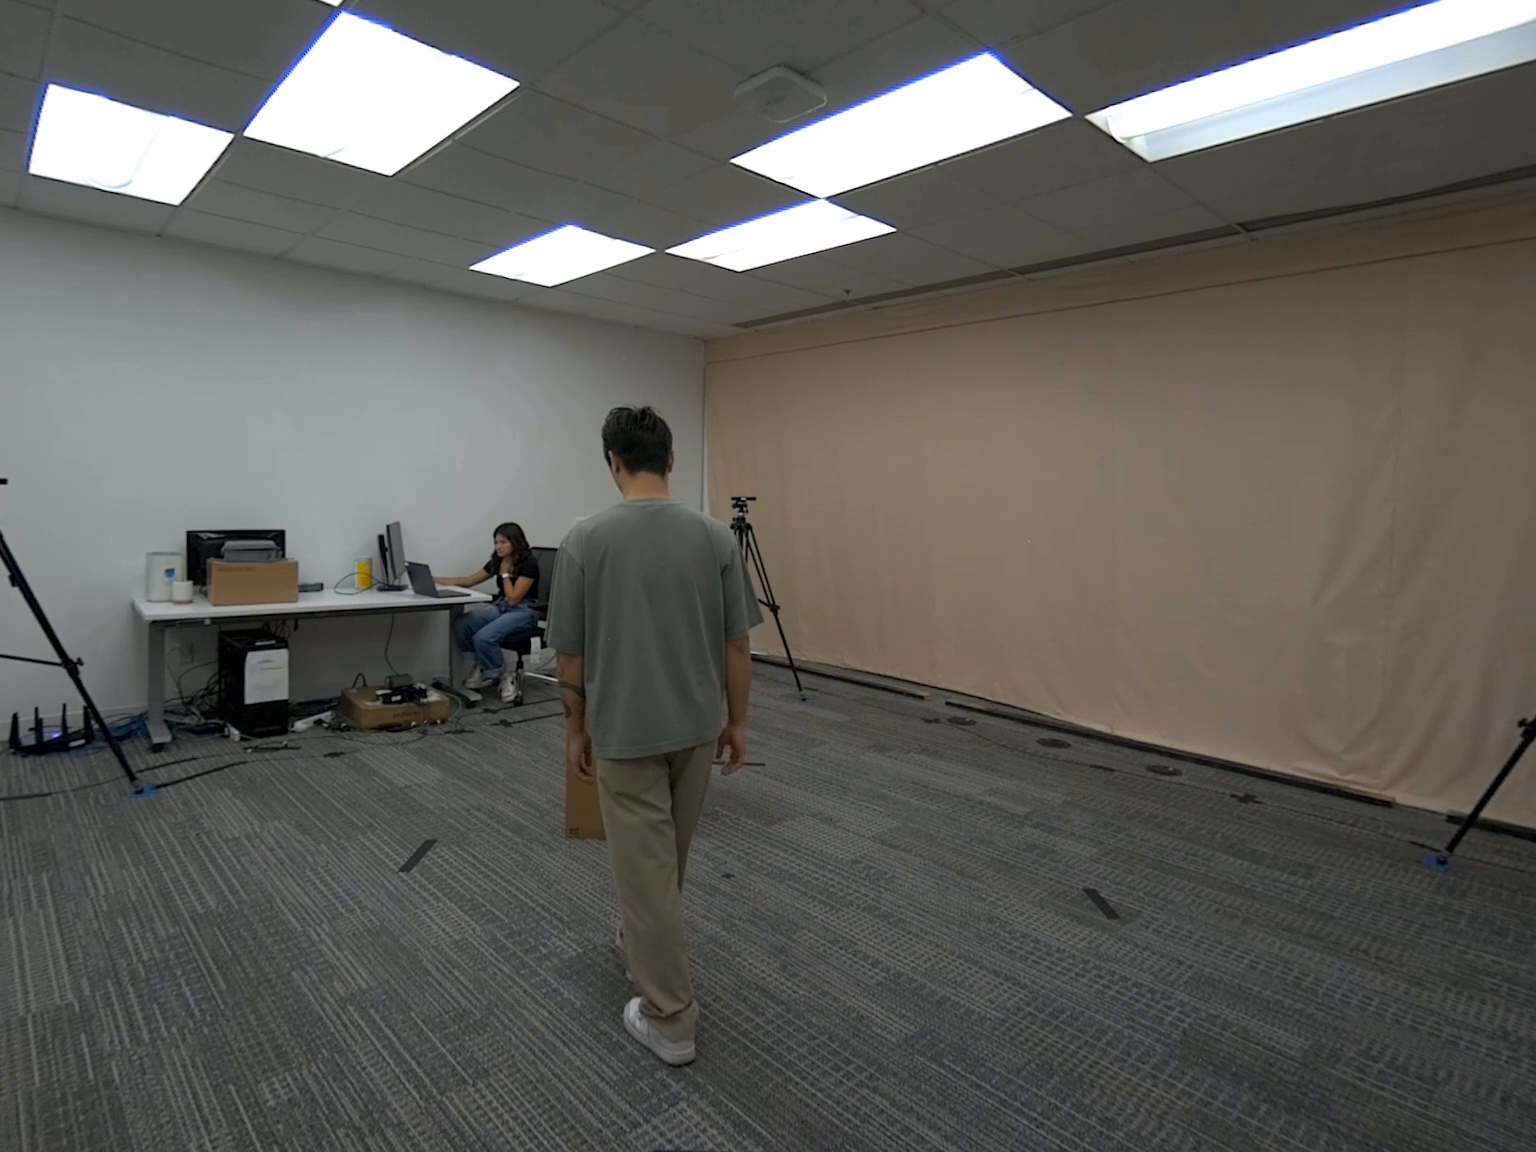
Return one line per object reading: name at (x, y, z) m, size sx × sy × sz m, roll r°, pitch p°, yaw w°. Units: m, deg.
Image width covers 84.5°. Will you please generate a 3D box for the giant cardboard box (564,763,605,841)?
giant cardboard box at (-0.596, 0.540, 3.664) m, size 0.428 × 1.023 × 0.576 m, roll 2°, pitch 4°, yaw 5°
